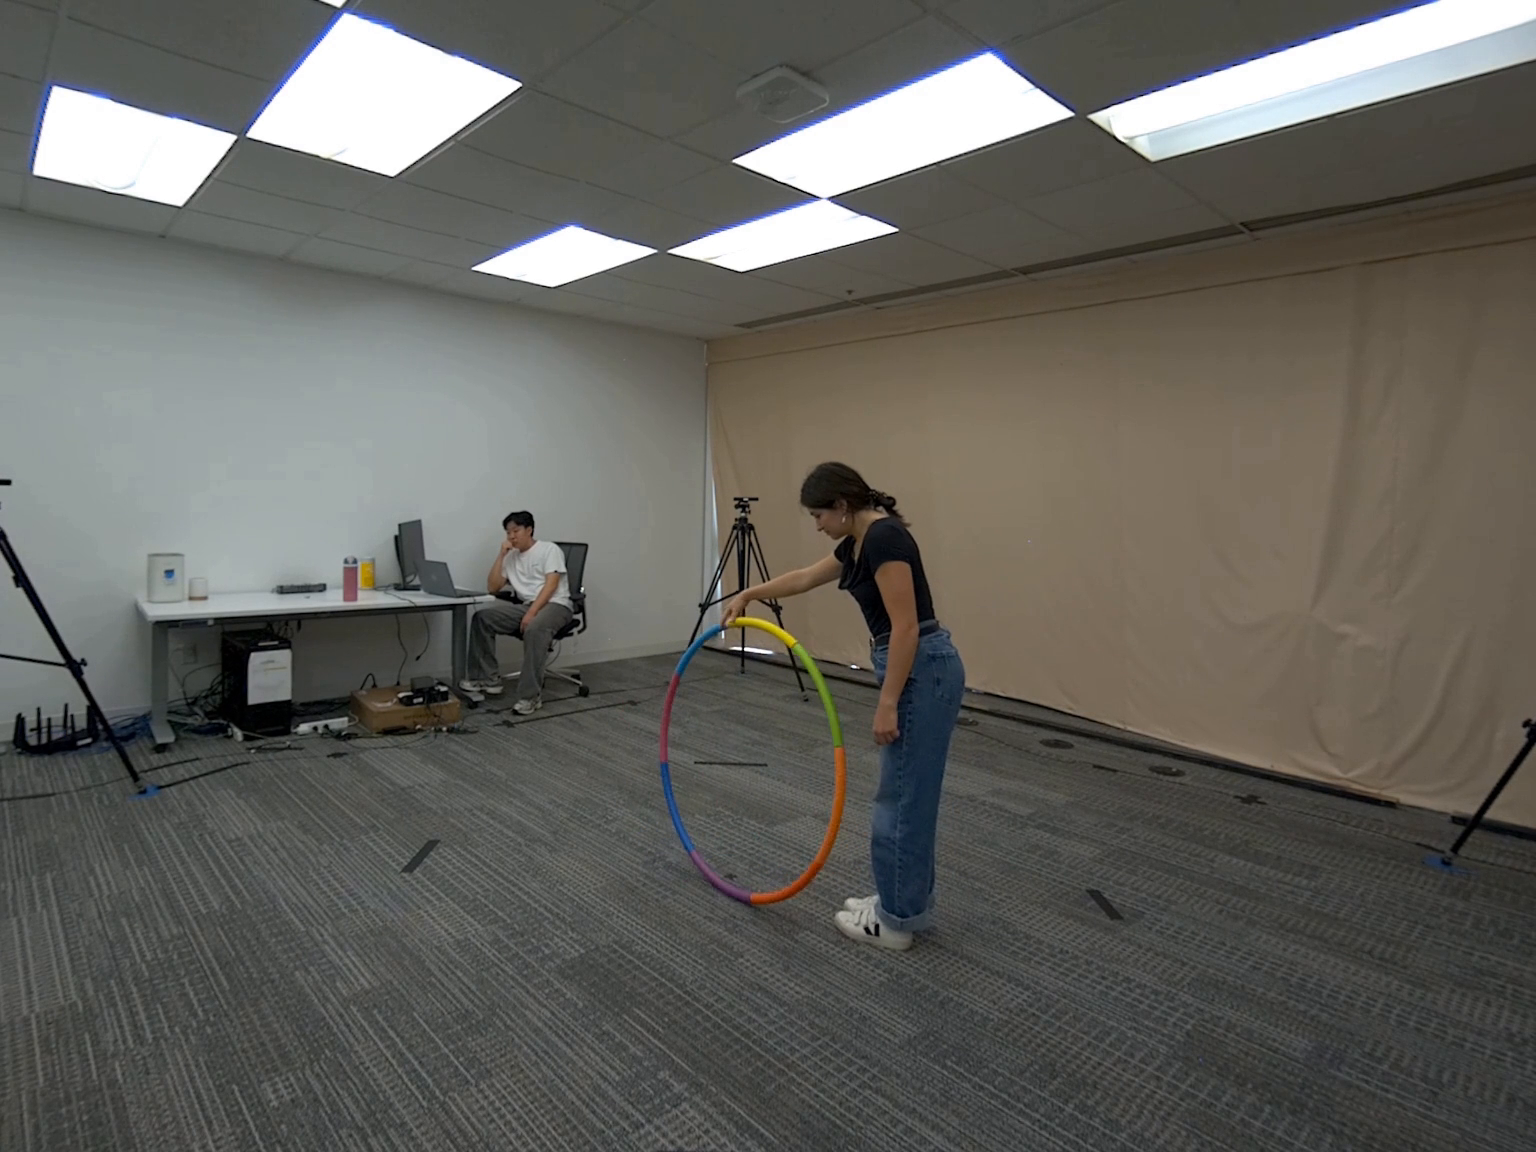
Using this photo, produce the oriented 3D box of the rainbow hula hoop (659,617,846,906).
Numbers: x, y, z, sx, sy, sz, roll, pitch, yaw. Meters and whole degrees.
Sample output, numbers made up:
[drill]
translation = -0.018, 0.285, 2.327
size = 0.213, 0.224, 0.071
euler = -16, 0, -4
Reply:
[rainbow hula hoop]
translation = -0.109, 0.645, 2.976
size = 0.034, 0.979, 1.003
euler = 6, 0, -40
